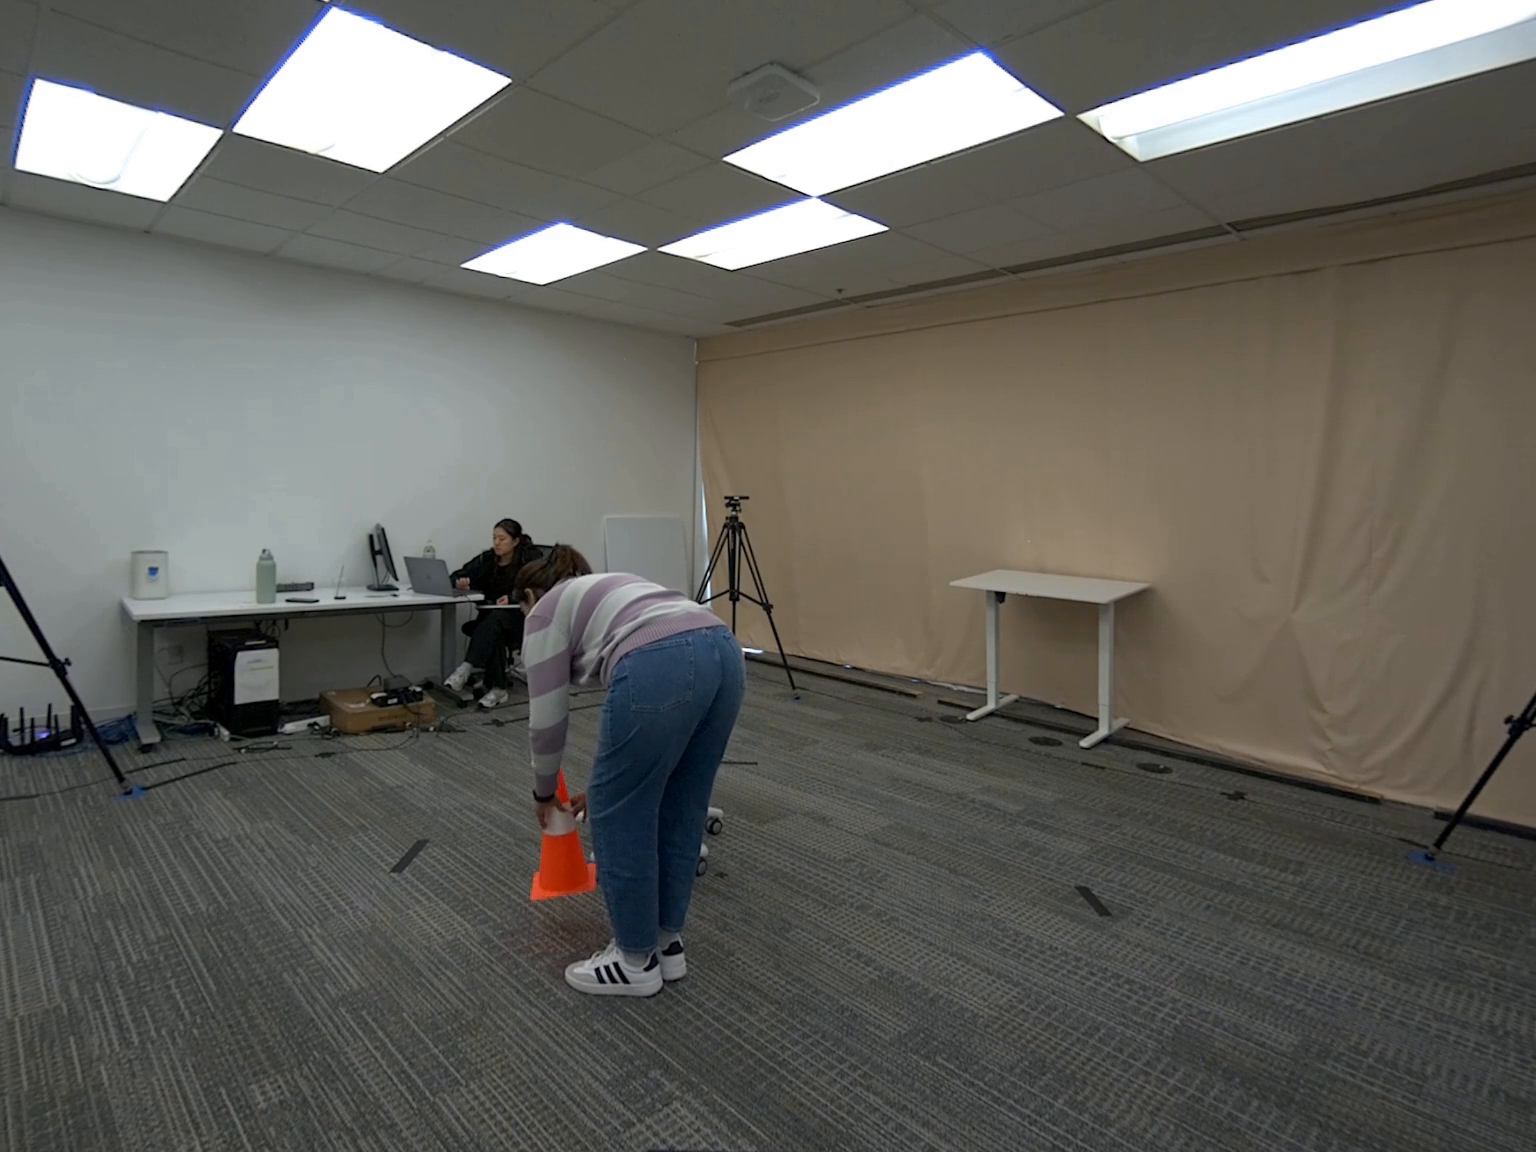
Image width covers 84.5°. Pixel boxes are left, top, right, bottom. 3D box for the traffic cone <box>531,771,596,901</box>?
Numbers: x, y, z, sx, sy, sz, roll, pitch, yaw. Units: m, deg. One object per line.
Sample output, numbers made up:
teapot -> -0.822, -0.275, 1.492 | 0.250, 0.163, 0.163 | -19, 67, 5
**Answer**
traffic cone -> -0.669, 0.778, 2.644 | 0.203, 0.383, 0.206 | 0, 2, -14
